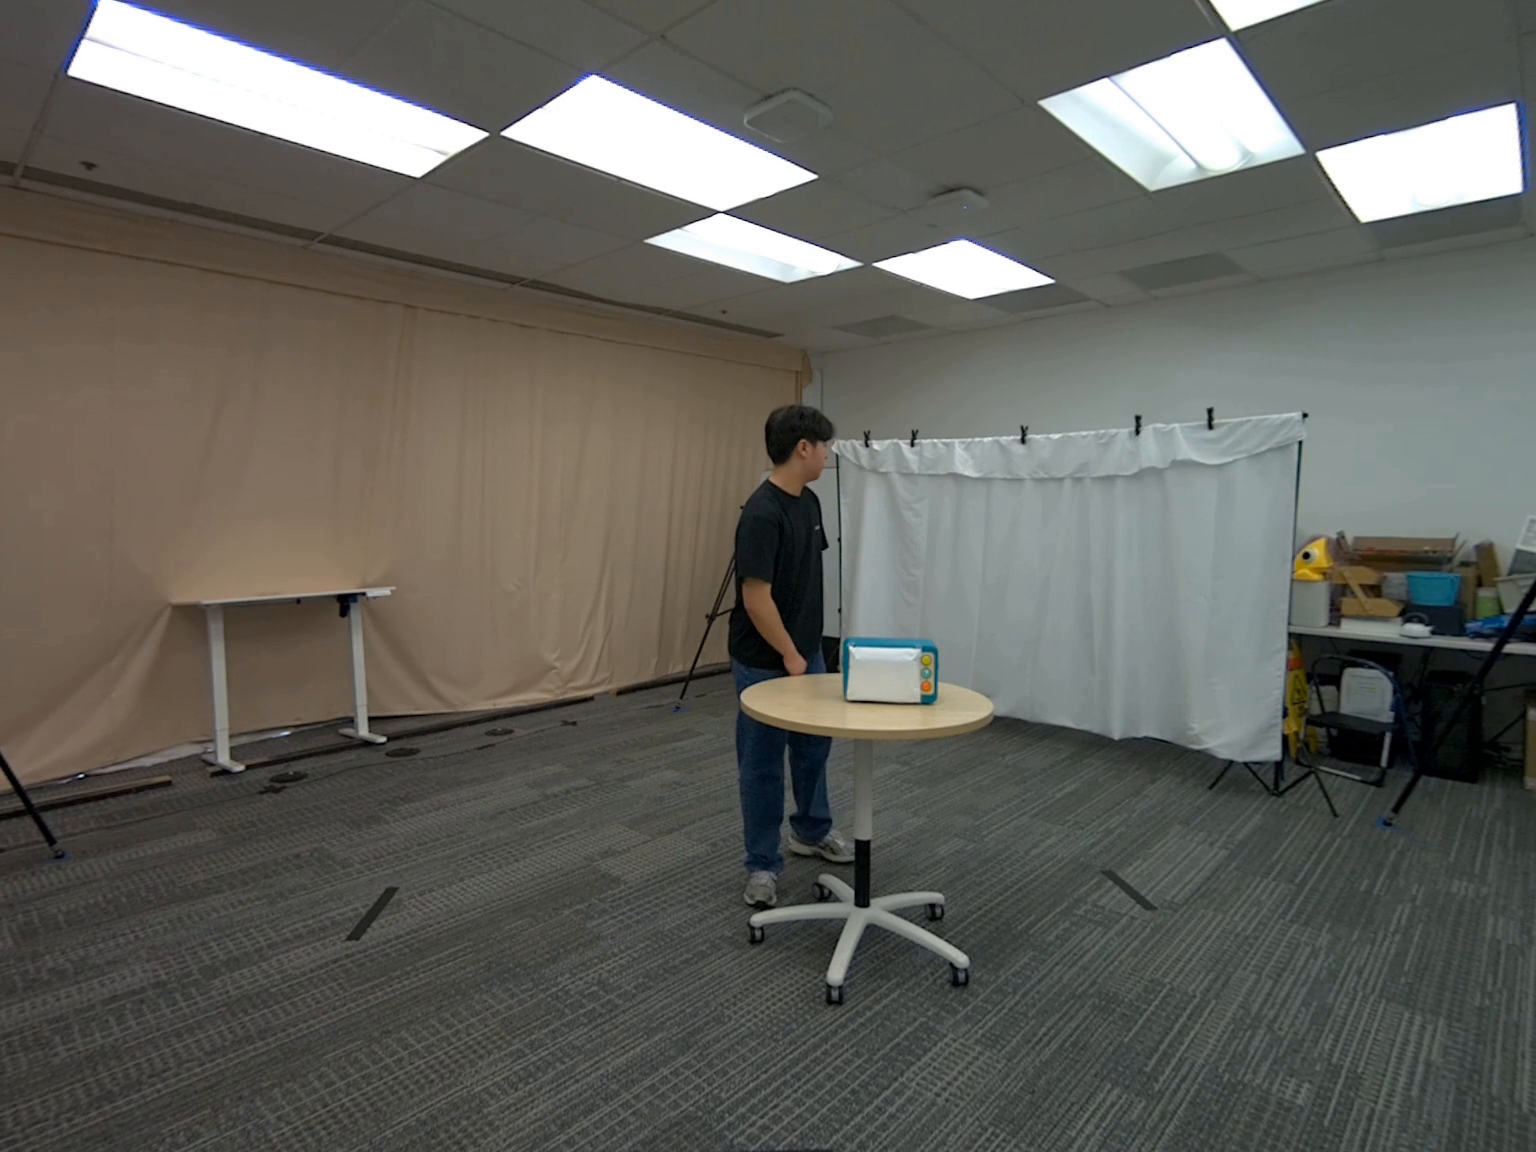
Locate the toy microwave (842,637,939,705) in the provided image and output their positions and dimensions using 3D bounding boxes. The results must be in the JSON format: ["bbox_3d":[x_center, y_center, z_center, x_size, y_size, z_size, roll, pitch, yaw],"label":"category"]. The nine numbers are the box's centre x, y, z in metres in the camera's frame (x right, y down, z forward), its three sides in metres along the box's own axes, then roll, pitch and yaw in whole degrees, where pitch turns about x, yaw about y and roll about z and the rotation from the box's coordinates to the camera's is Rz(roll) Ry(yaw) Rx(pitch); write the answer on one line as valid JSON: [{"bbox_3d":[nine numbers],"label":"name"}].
[{"bbox_3d":[0.381,0.285,2.566,0.288,0.183,0.152,-1,4,5],"label":"toy microwave"}]
